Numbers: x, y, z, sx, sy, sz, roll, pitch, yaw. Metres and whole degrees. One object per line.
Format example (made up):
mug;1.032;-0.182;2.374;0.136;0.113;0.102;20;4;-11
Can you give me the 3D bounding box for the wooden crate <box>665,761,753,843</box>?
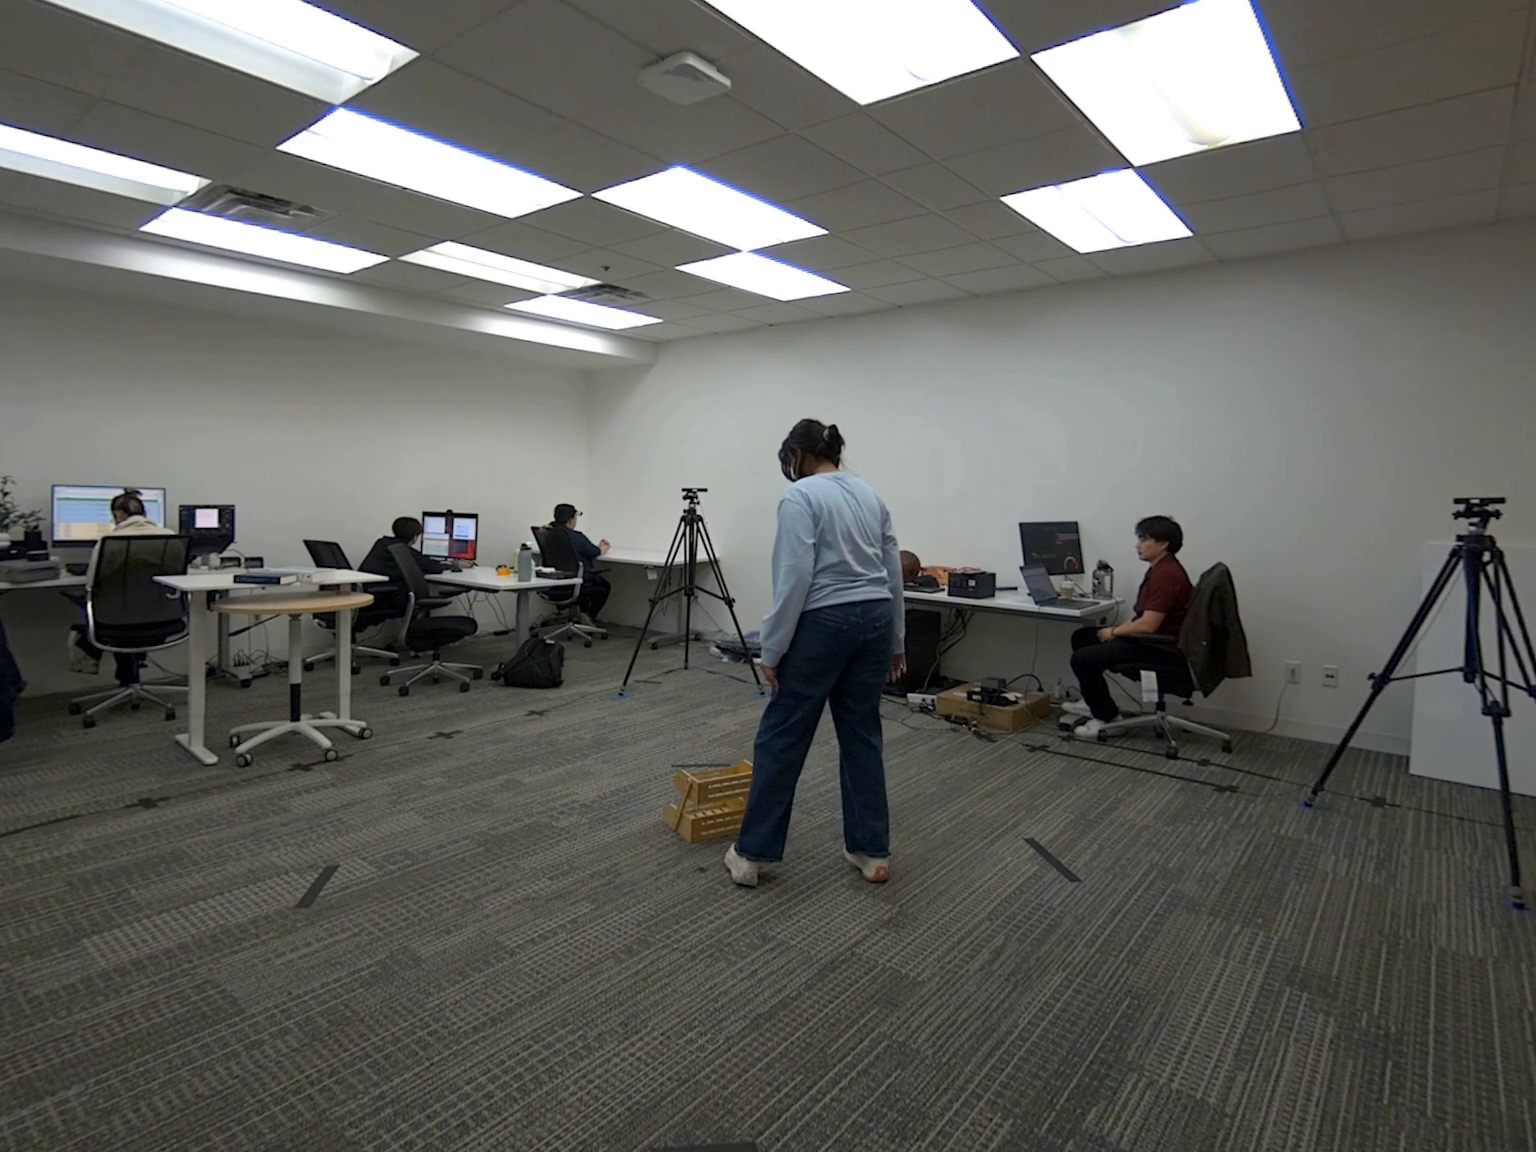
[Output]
wooden crate;-0.244;0.898;3.501;0.315;0.272;0.312;-2;6;-32
